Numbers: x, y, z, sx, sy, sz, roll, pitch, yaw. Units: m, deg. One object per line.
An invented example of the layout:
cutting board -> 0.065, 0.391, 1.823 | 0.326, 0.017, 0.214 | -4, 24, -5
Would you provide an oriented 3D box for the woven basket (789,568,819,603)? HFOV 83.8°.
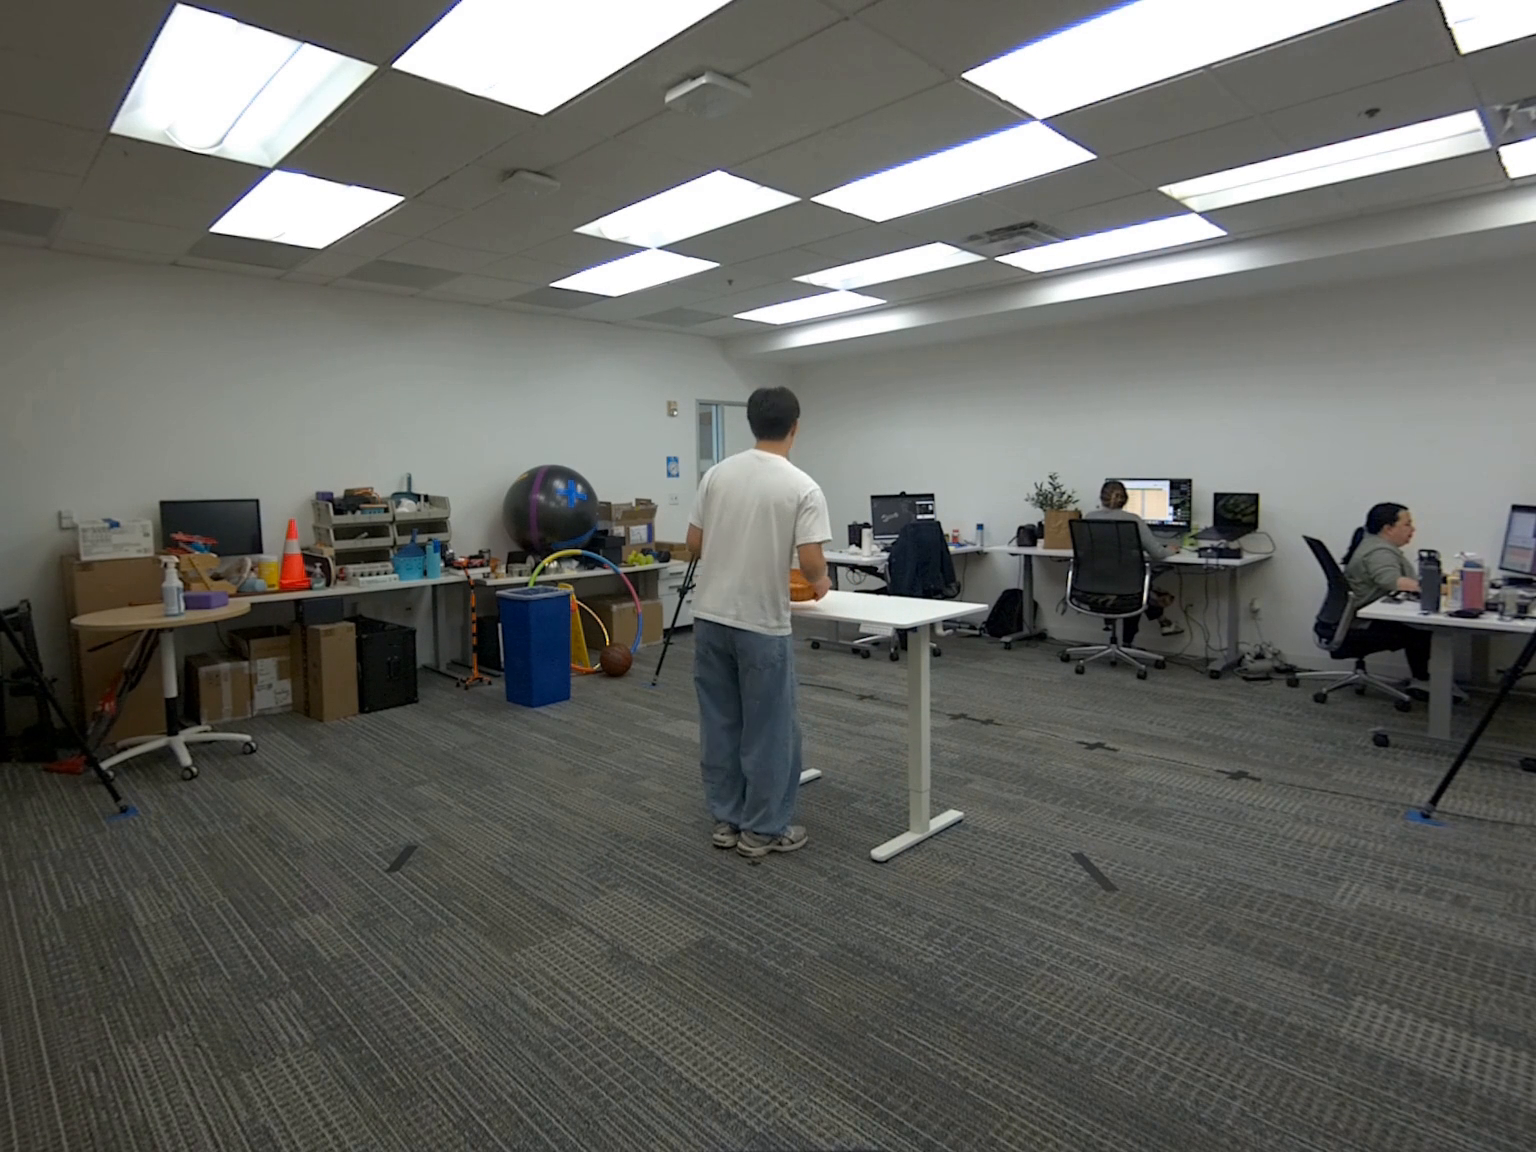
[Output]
woven basket -> 0.074, 0.043, 3.426 | 0.361, 0.072, 0.248 | 10, 21, 36
